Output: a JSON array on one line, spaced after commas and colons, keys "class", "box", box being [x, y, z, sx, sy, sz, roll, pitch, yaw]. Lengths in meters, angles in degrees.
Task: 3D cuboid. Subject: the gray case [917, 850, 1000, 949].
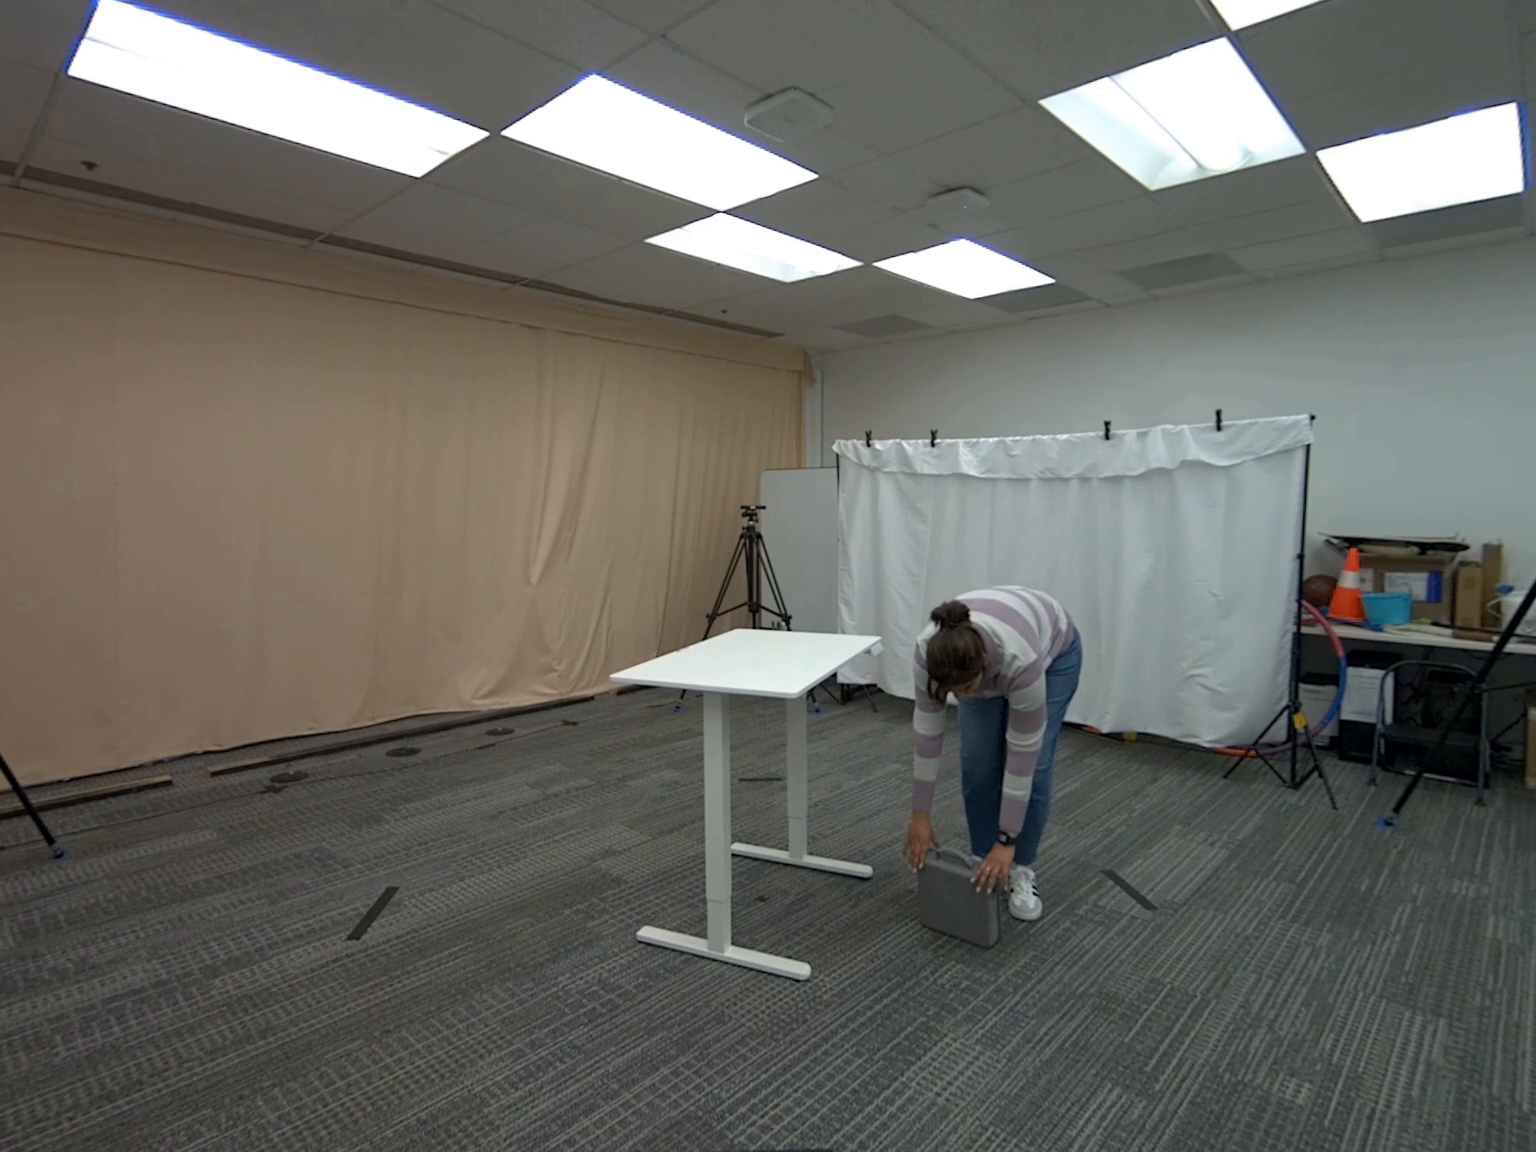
[{"class": "gray case", "box": [0.626, 1.032, 2.717, 0.265, 0.258, 0.102, 4, 14, 39]}]
